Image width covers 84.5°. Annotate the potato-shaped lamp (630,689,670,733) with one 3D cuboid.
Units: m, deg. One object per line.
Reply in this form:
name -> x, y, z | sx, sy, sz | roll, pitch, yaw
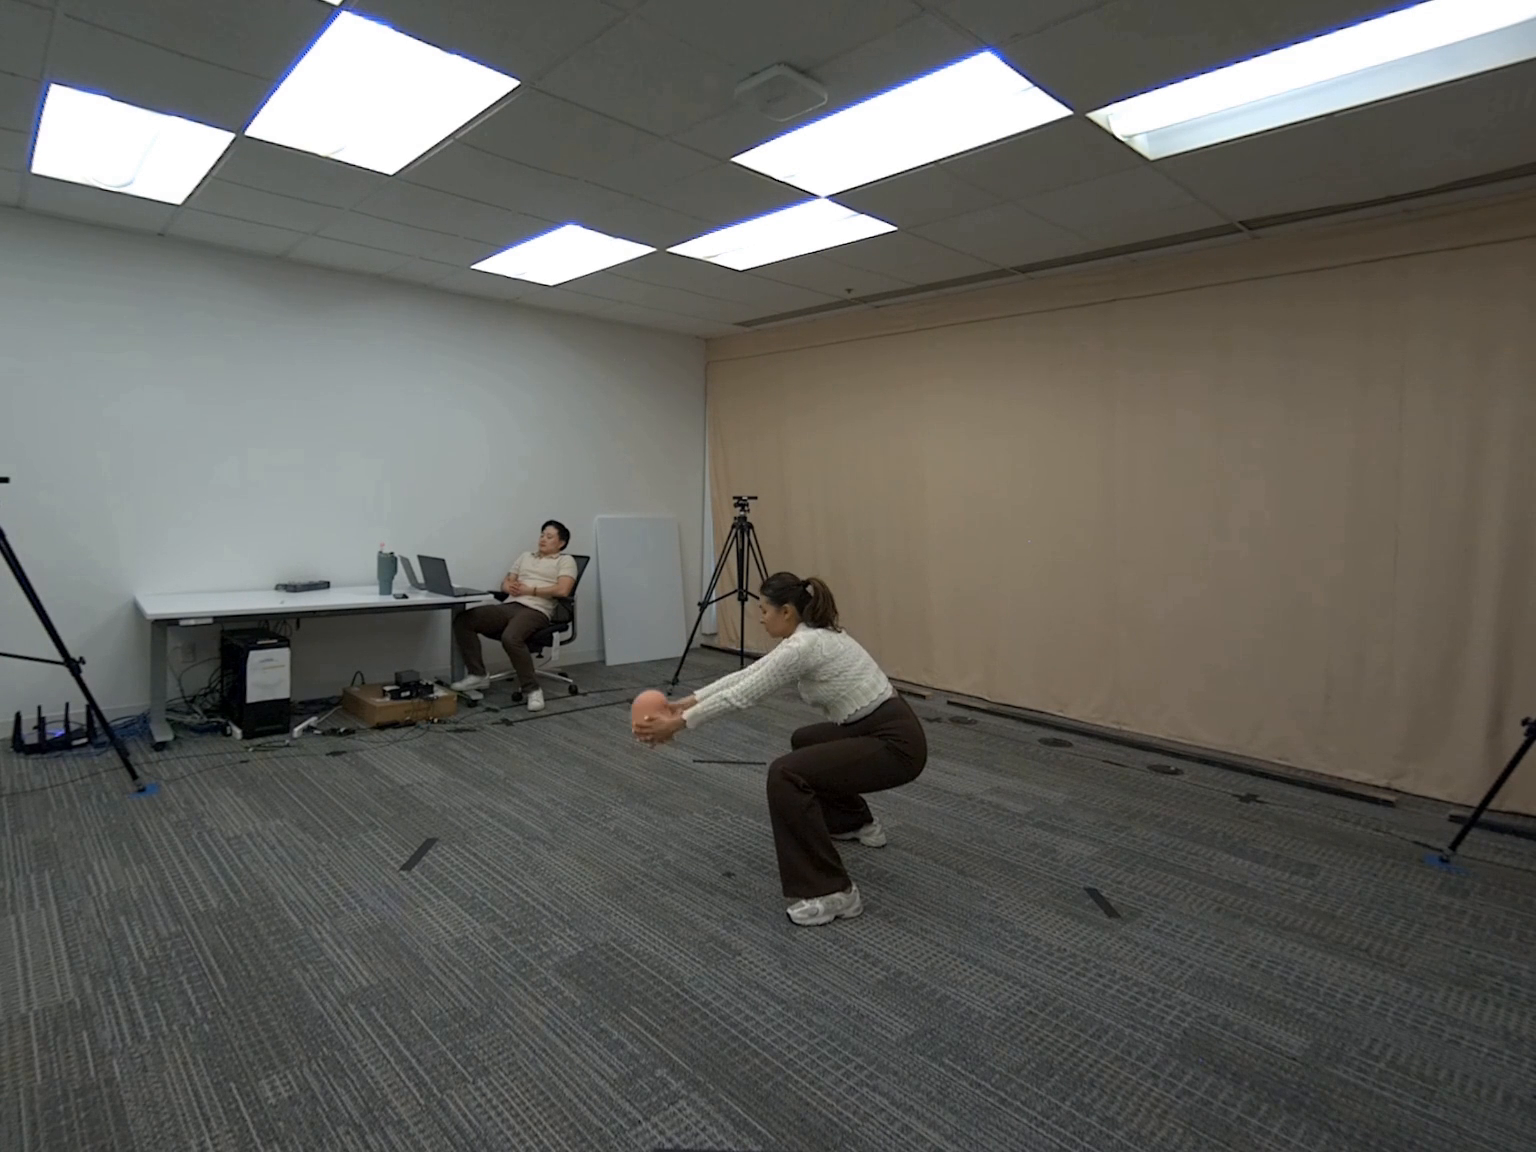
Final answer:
potato-shaped lamp -> -0.444, 0.544, 3.262 | 0.173, 0.198, 0.163 | 10, 3, 13
